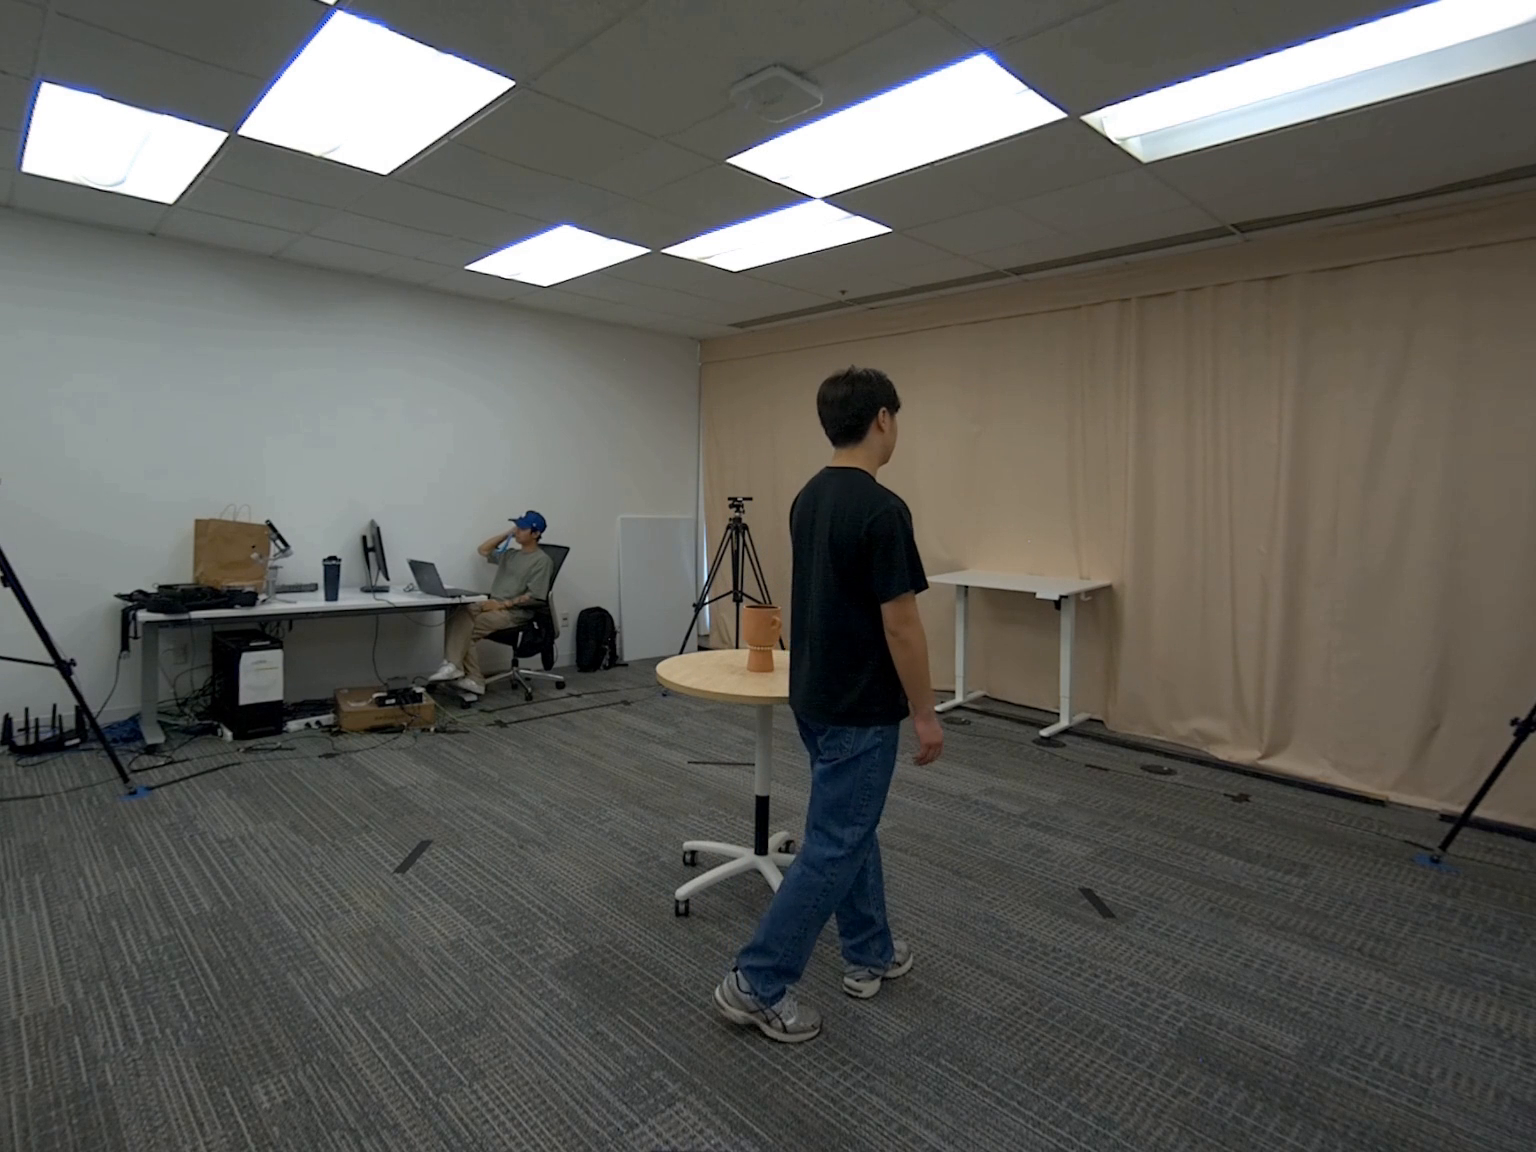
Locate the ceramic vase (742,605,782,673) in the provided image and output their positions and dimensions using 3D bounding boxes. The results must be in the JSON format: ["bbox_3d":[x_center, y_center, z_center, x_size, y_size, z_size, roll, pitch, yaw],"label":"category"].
[{"bbox_3d":[-0.032,0.223,2.934,0.134,0.219,0.159,2,4,-2],"label":"ceramic vase"}]
